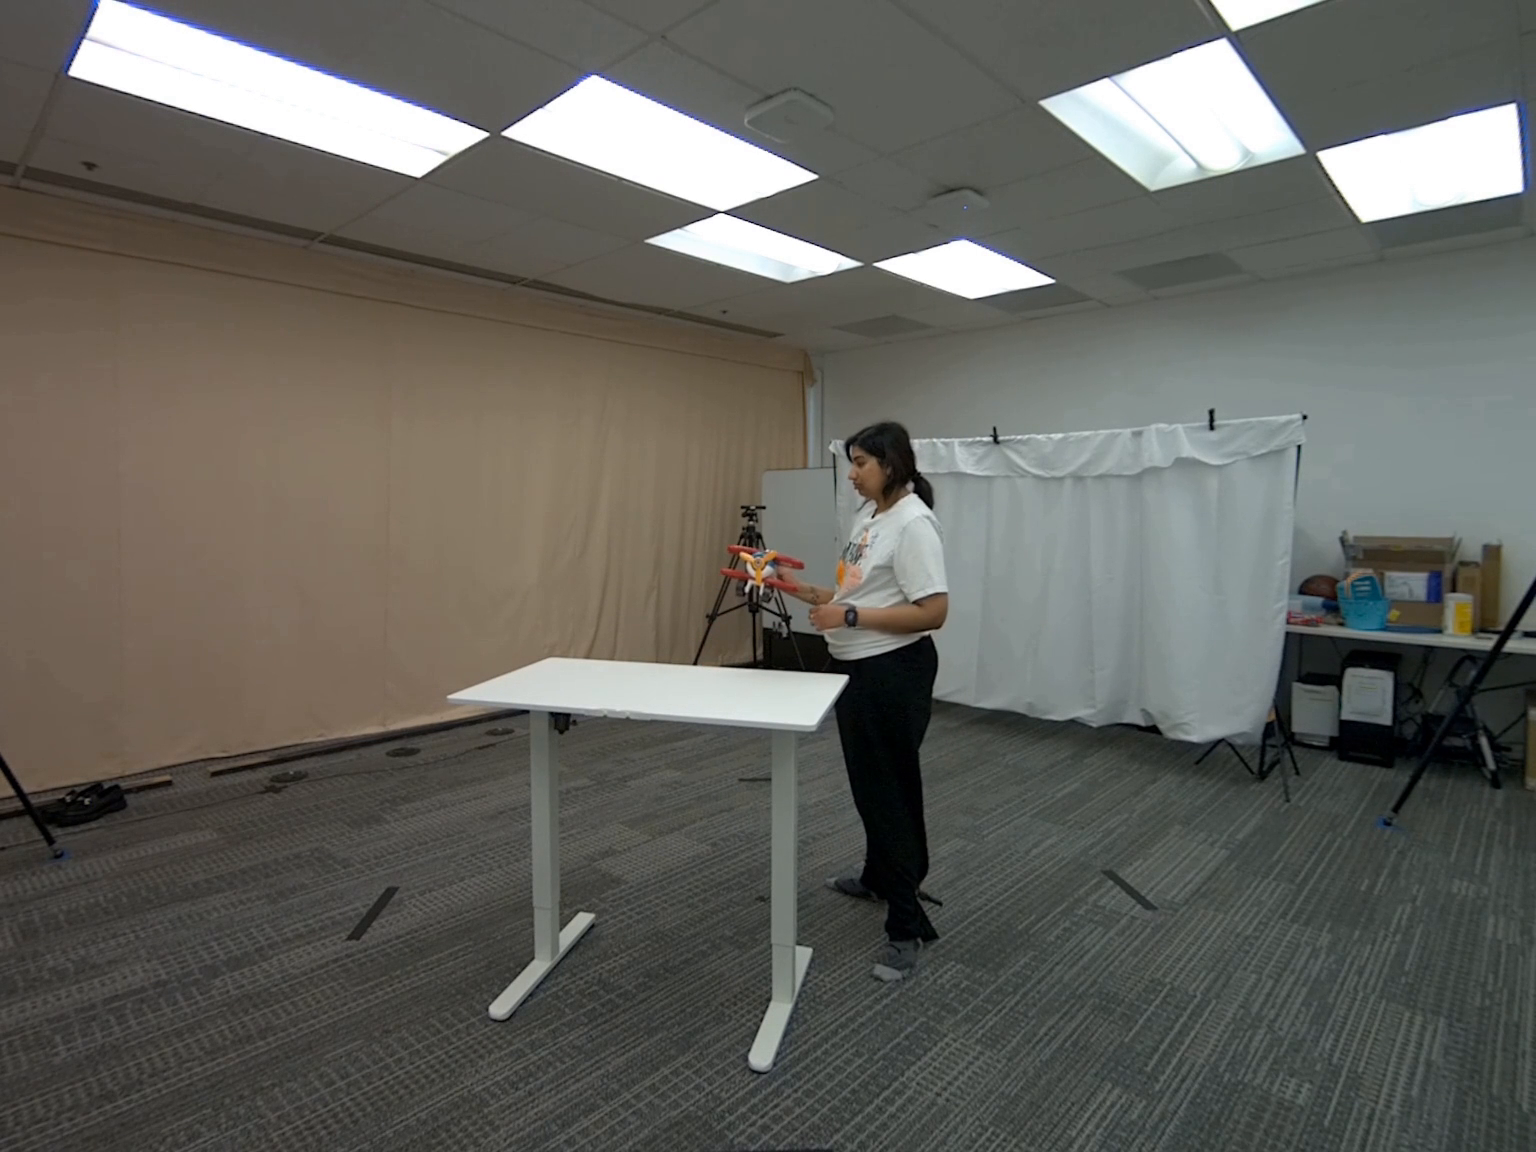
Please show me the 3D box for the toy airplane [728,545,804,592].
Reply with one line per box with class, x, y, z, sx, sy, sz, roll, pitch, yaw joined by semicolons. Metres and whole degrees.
toy airplane;-0.027;-0.003;2.713;0.247;0.156;0.264;10;5;-14
